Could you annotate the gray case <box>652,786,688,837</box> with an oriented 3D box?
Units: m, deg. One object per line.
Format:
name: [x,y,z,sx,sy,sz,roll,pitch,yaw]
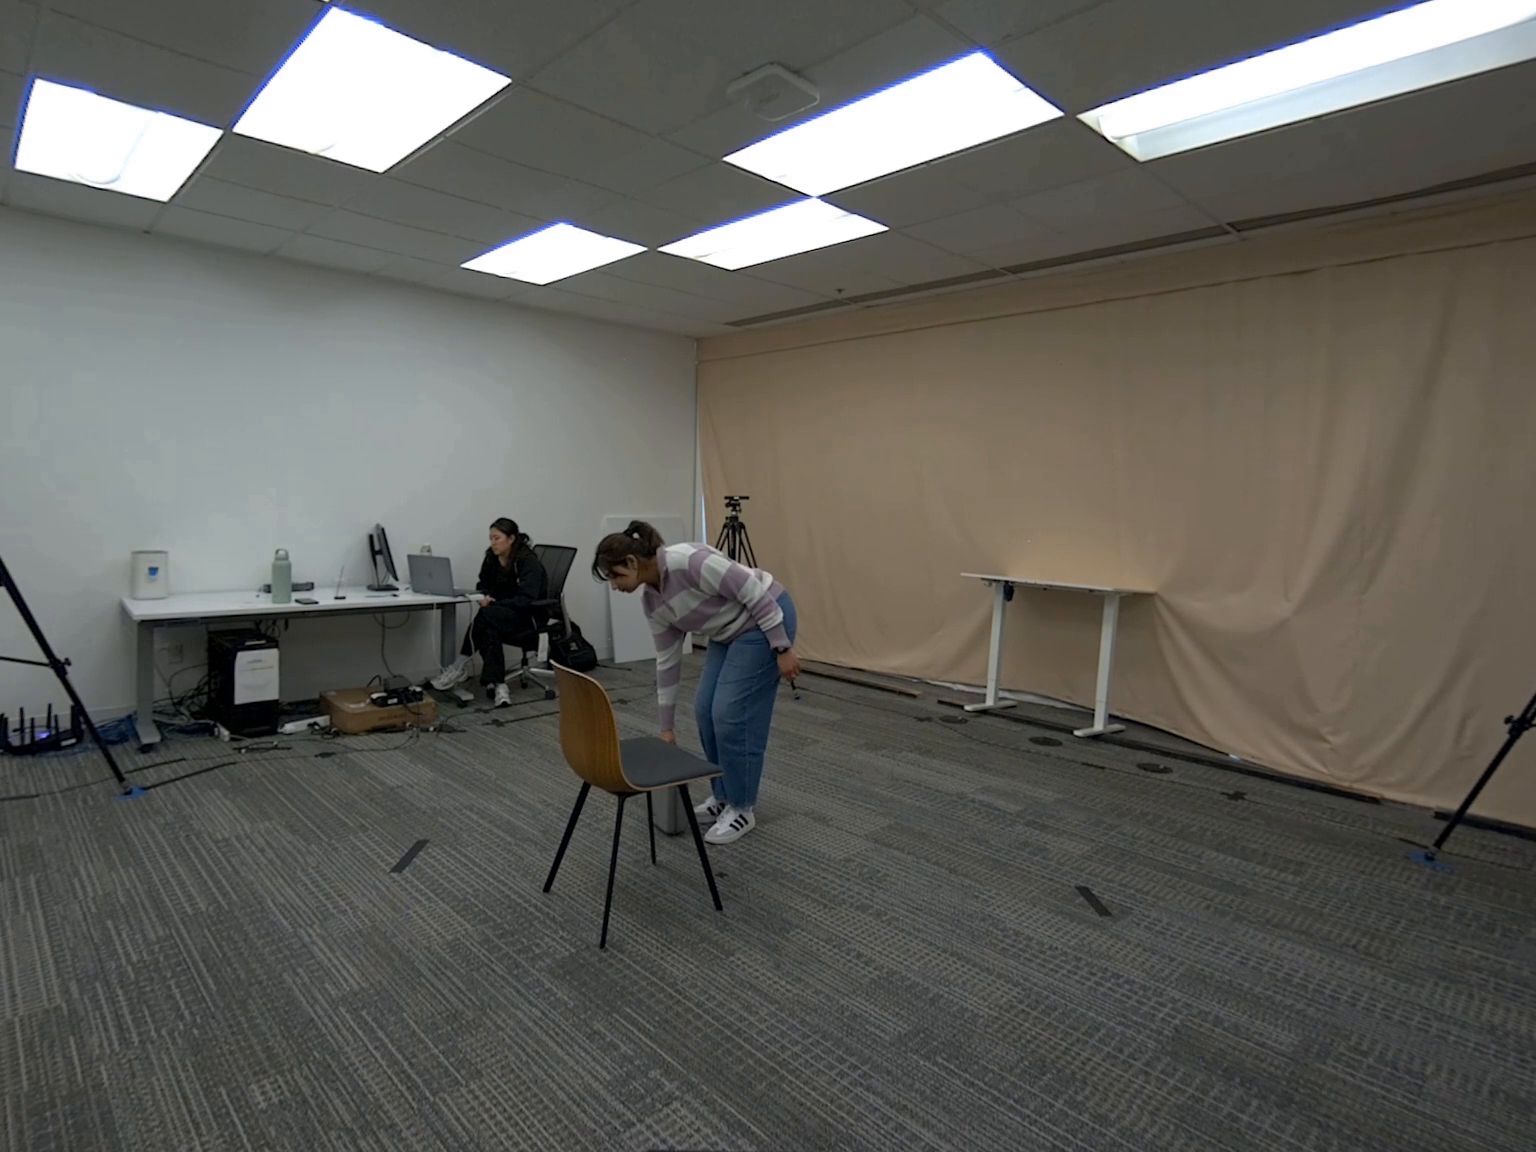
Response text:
gray case: [-0.435,0.906,3.545,0.102,0.259,0.263,-4,7,-28]
